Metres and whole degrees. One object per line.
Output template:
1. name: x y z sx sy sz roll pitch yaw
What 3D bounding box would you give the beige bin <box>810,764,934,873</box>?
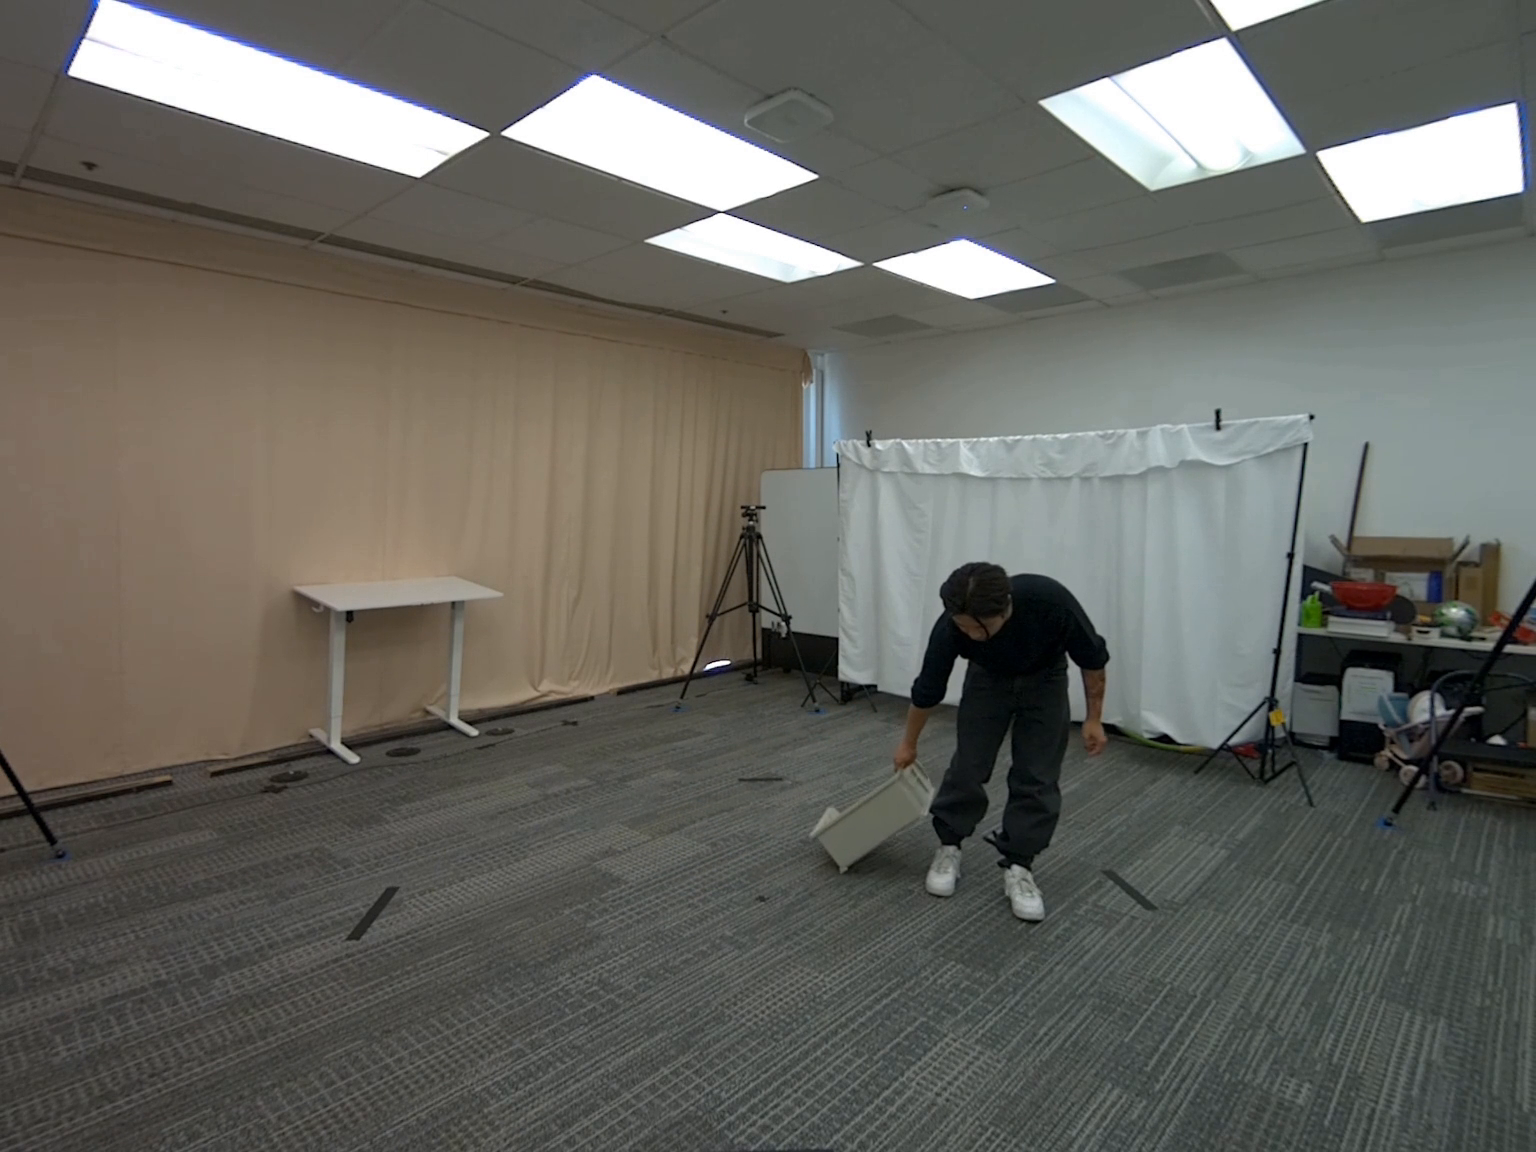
1. beige bin: 0.421 0.915 3.297 0.425 0.191 0.371 -39 -6 16
